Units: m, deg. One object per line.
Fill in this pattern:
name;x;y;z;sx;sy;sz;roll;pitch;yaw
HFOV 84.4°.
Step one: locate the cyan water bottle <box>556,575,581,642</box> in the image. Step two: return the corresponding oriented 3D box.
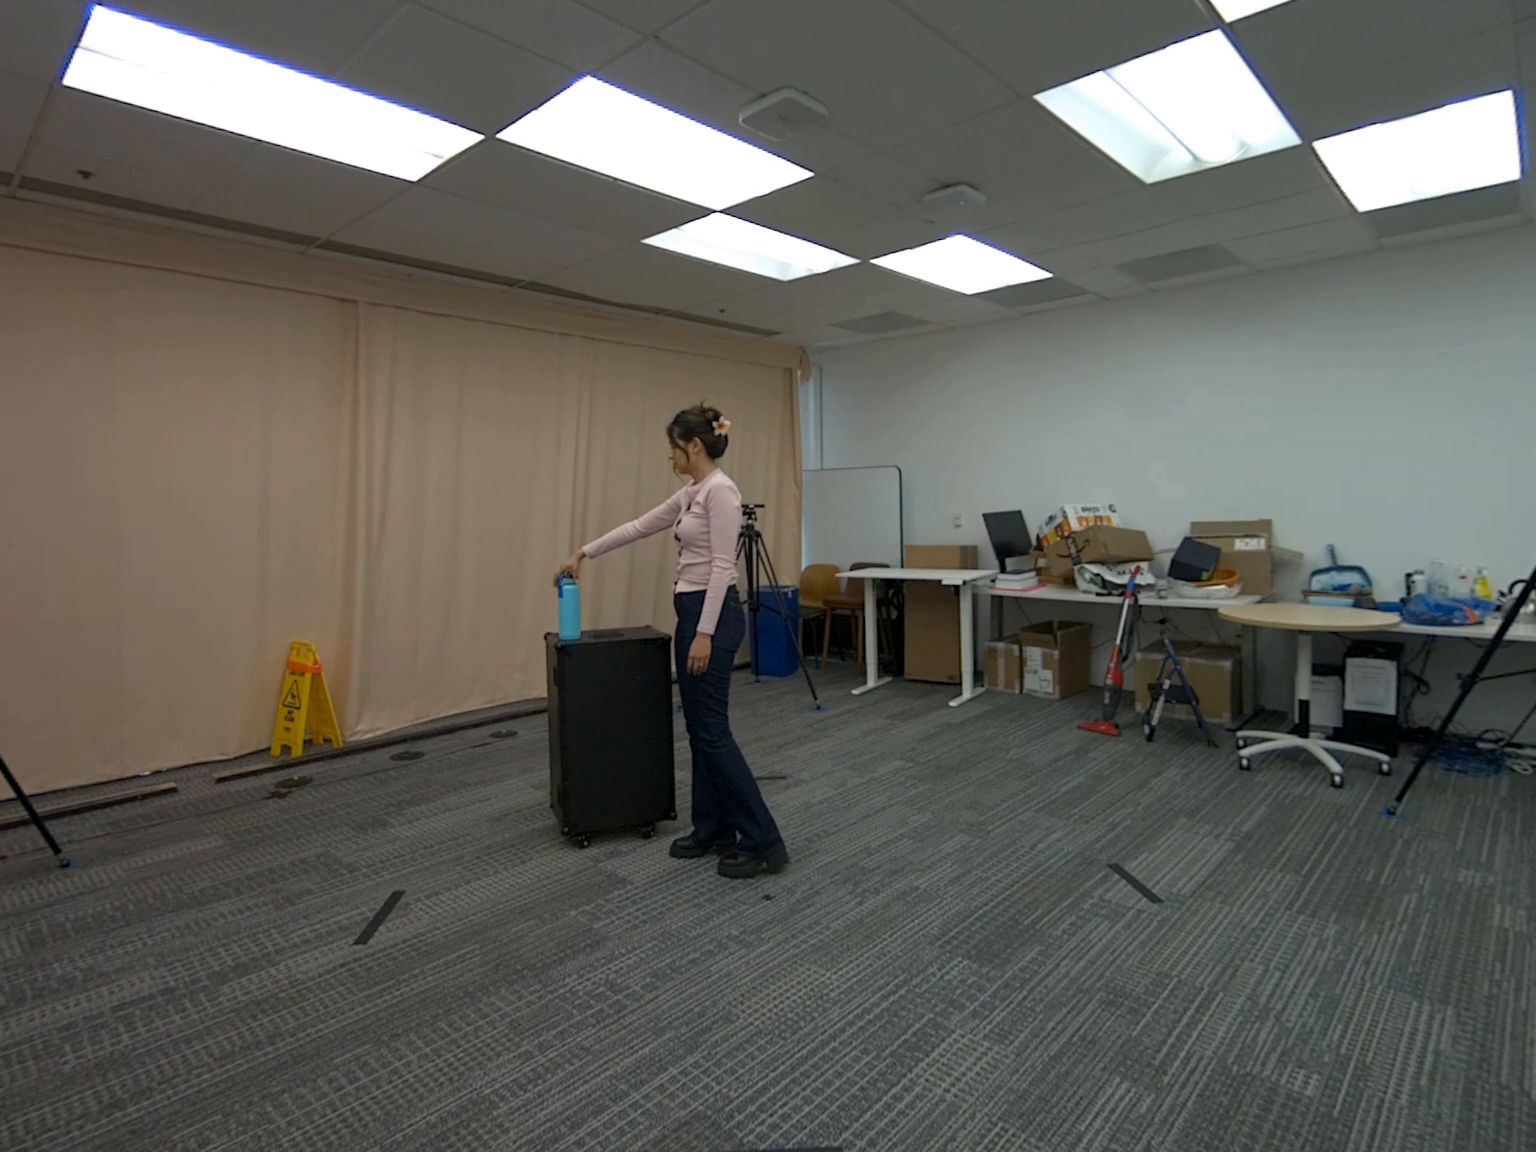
cyan water bottle;-0.840;0.123;3.552;0.092;0.283;0.092;-4;4;-2
